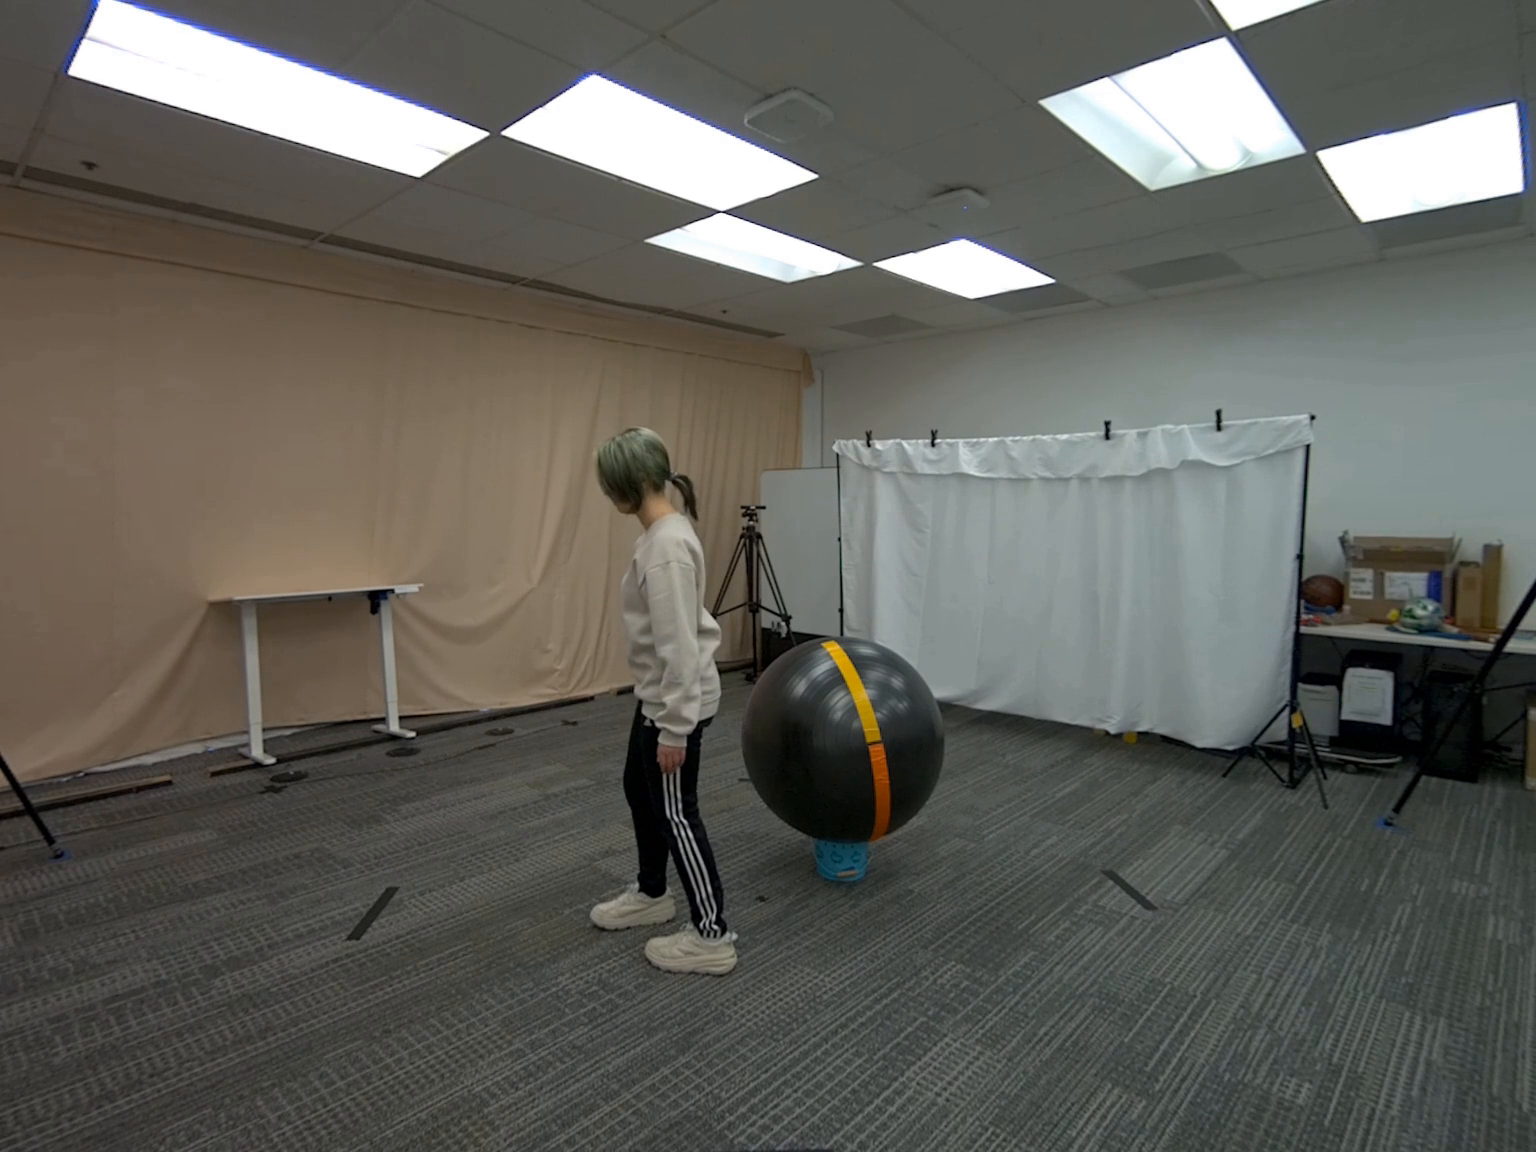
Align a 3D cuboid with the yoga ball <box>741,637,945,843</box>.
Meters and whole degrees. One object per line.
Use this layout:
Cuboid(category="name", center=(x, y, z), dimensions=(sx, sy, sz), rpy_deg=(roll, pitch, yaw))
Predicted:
Cuboid(category="yoga ball", center=(0.282, 0.617, 3.185), dimensions=(0.757, 0.756, 0.760), rpy_deg=(0, 4, -2))
